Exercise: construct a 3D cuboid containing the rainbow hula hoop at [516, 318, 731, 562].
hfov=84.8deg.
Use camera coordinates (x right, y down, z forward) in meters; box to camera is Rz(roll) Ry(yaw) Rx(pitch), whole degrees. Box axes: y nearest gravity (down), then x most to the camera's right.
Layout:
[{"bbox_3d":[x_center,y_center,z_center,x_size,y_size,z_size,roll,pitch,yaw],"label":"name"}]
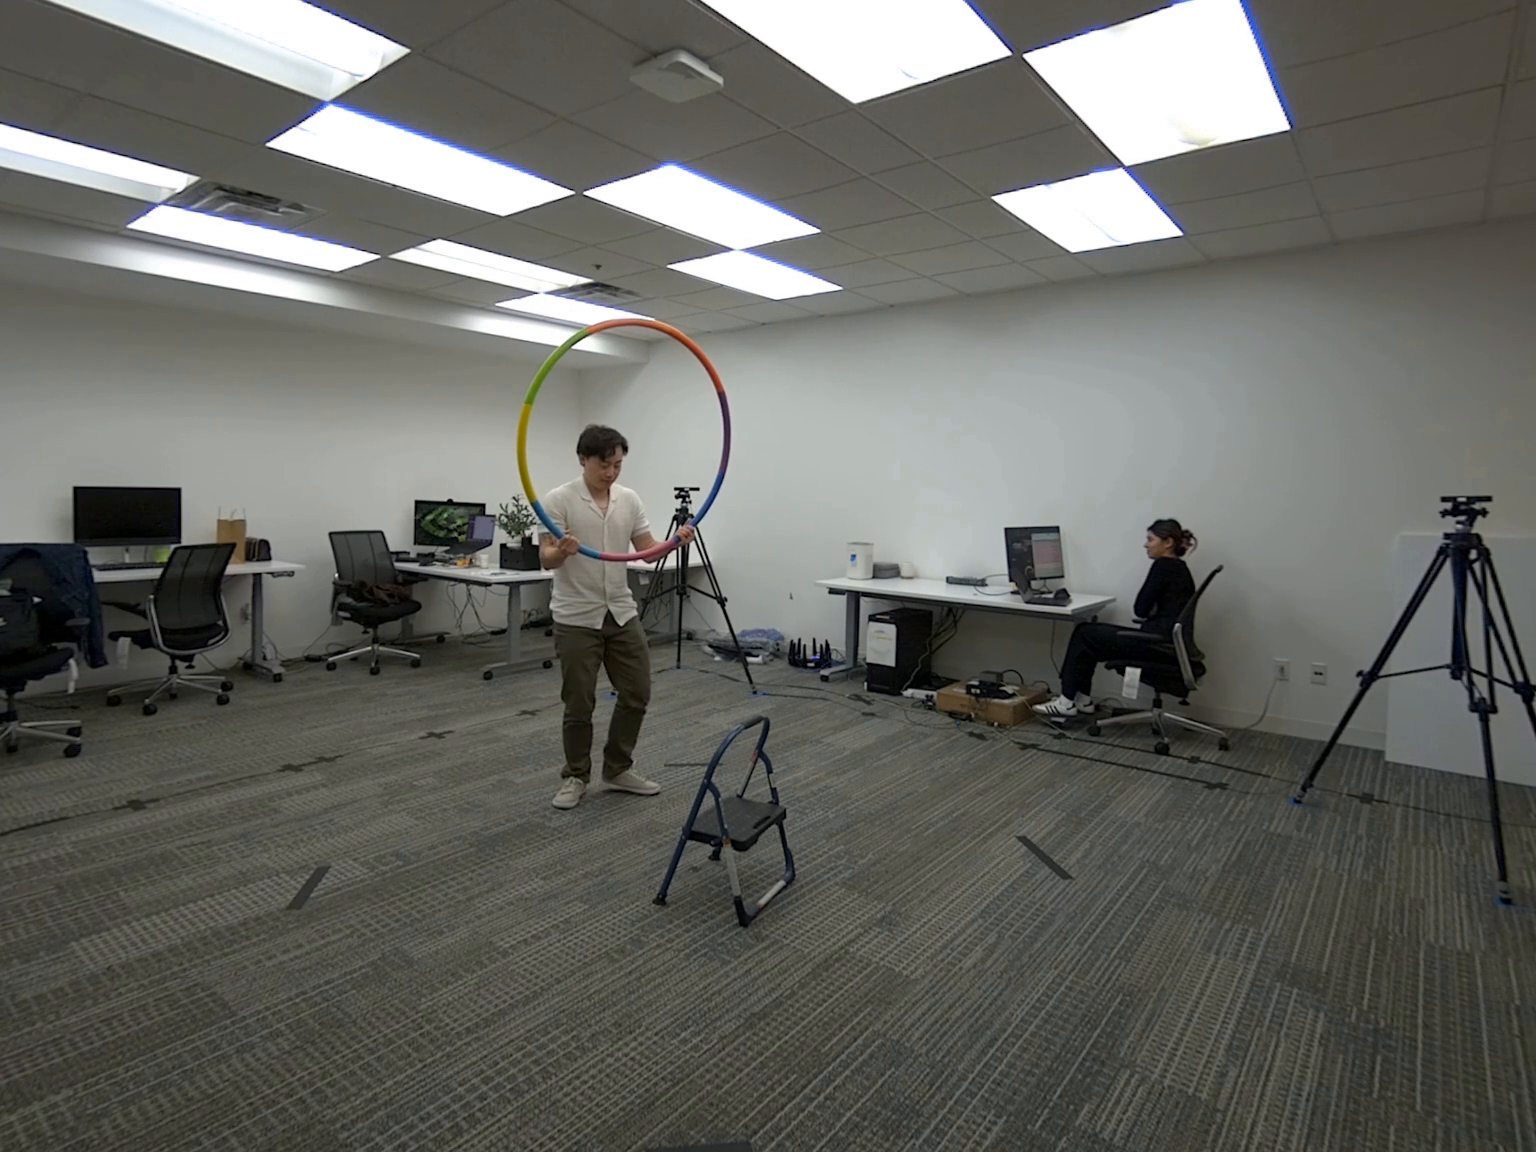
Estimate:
[{"bbox_3d":[-0.561,-0.532,3.454,0.950,0.970,0.037,-2,12,-37],"label":"rainbow hula hoop"}]
